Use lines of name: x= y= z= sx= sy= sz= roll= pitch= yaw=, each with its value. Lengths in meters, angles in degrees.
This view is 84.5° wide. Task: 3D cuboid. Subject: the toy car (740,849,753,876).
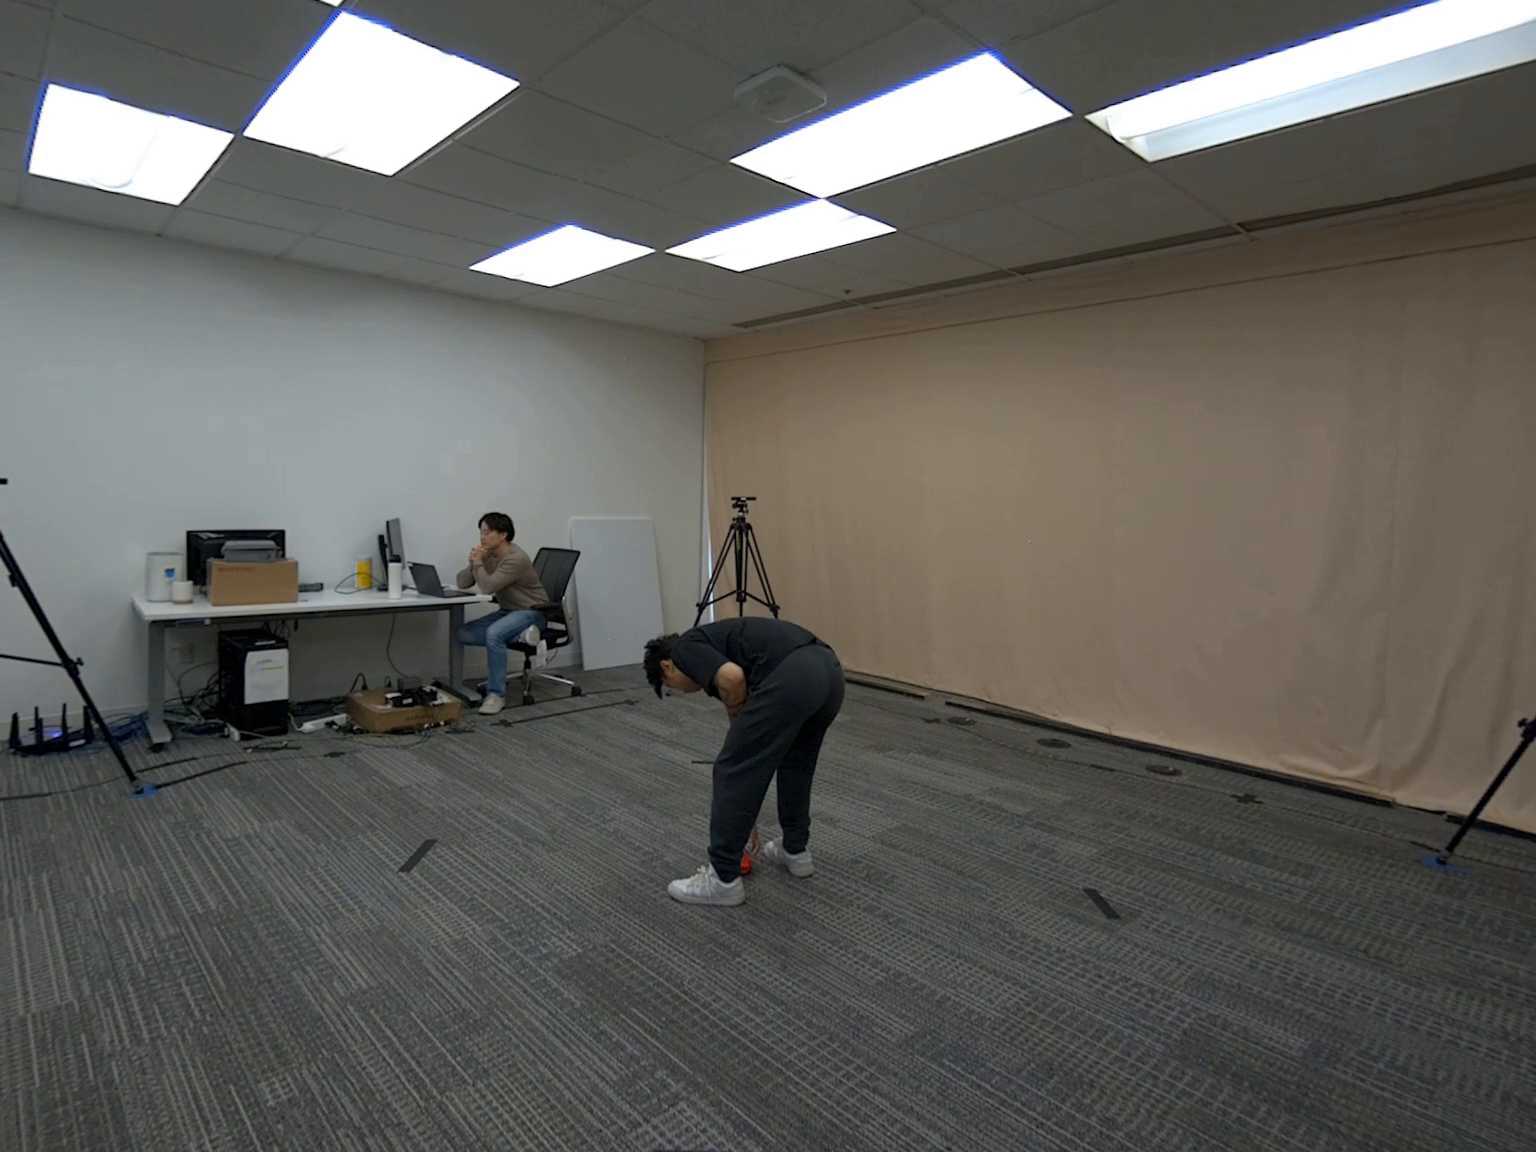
toy car: x=-0.133 y=1.076 z=3.180 sx=0.129 sy=0.084 sz=0.254 roll=1 pitch=-7 yaw=-7
